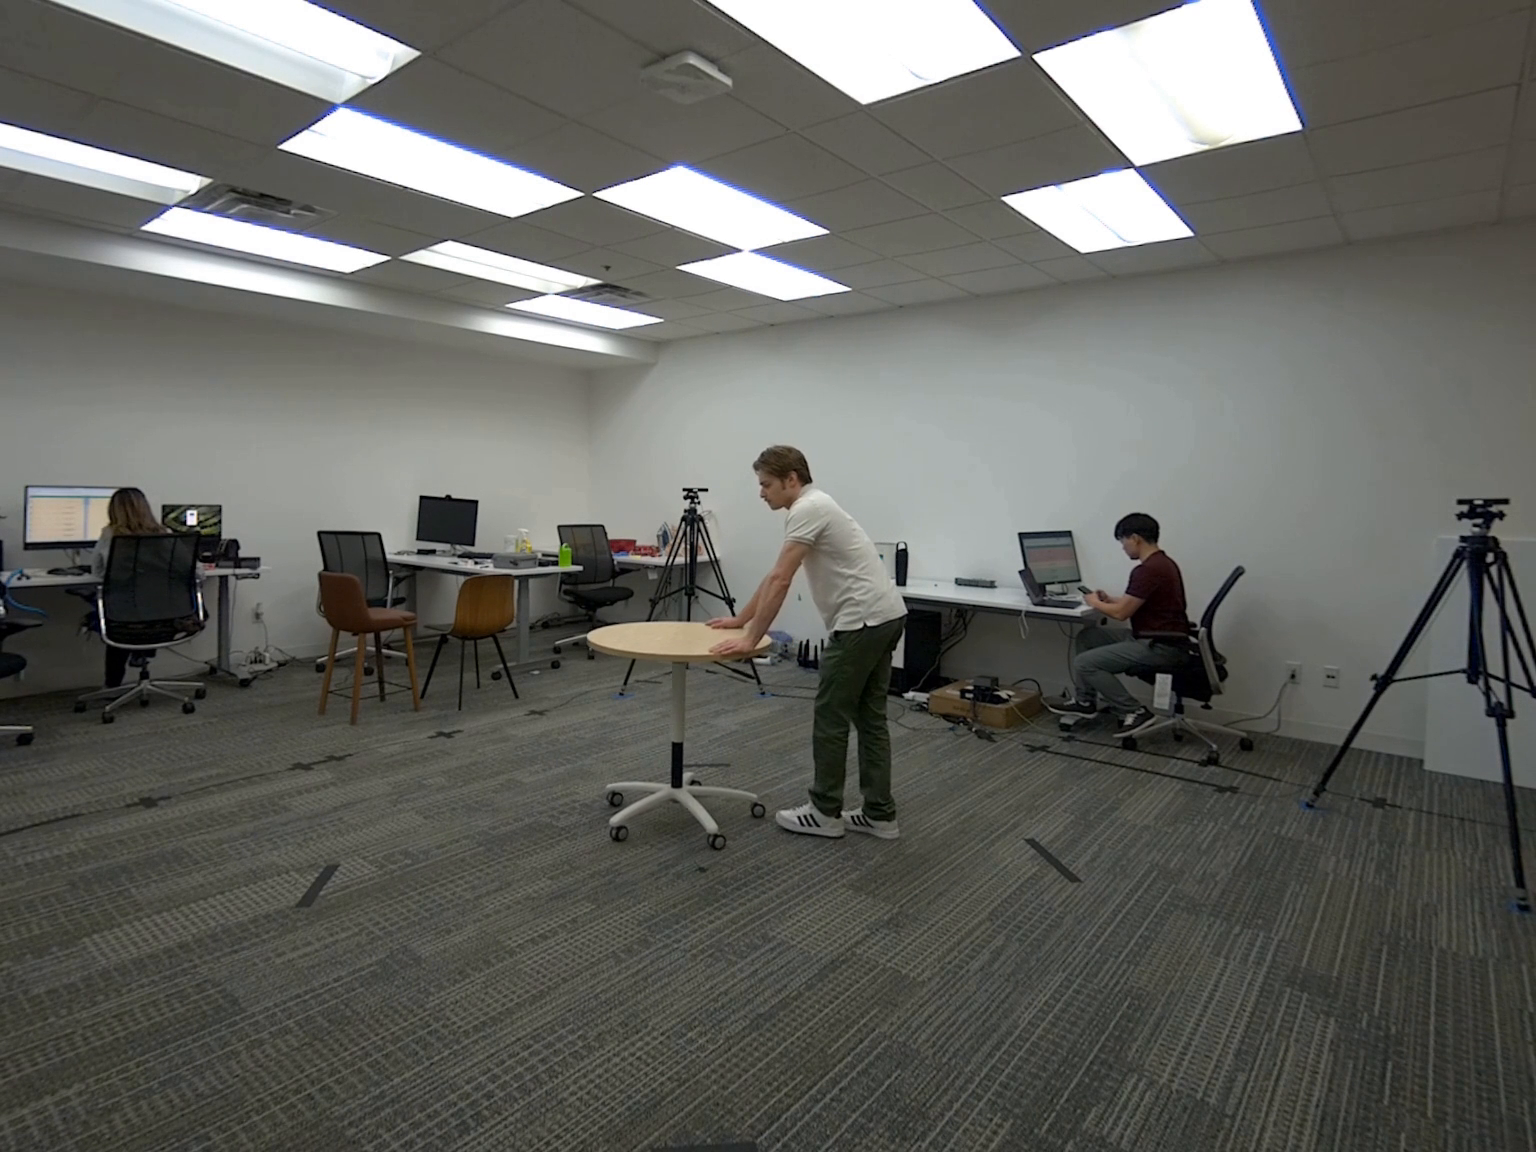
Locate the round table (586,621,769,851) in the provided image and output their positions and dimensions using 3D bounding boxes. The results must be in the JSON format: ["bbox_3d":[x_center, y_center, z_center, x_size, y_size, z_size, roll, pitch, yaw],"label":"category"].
[{"bbox_3d":[-0.394,0.639,3.564,0.763,0.791,0.768,1,4,-2],"label":"round table"}]
